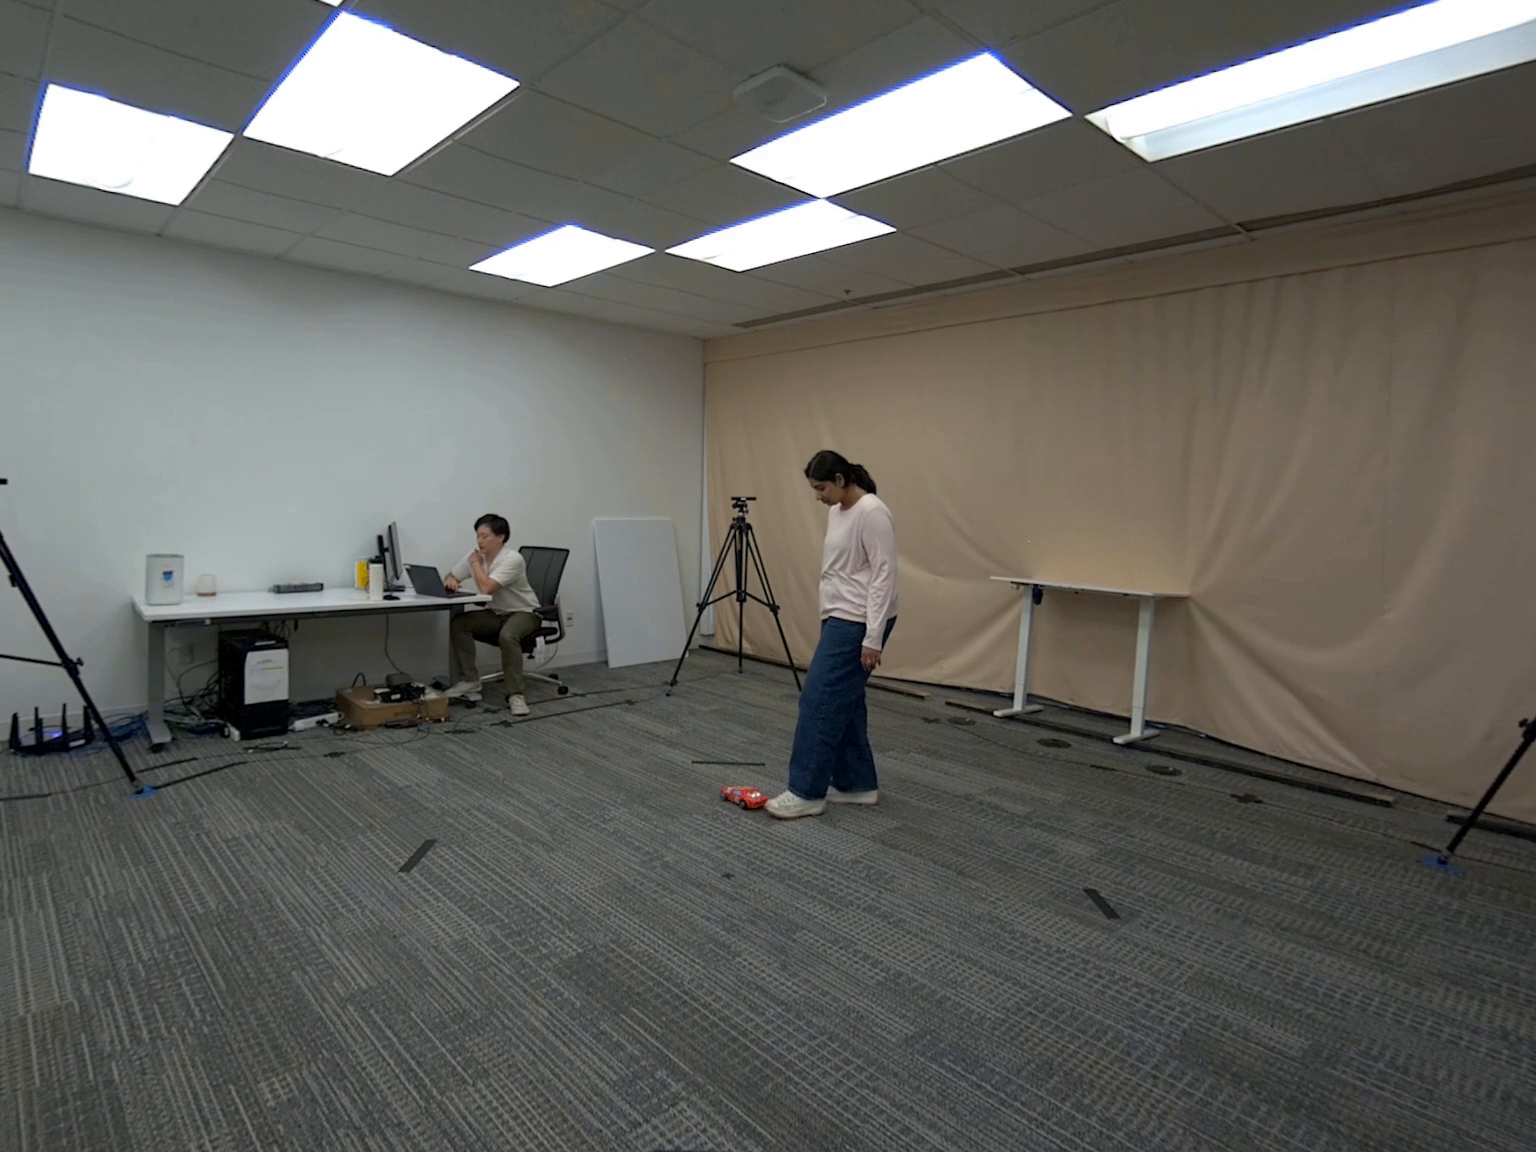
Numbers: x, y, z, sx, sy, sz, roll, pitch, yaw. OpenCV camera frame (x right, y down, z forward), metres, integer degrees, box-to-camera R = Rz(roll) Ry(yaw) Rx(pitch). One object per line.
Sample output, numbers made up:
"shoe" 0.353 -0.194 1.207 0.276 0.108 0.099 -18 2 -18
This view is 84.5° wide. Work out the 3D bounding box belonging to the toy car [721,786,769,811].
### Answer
"toy car" -0.111 1.006 3.849 0.127 0.083 0.259 -1 -5 -40
